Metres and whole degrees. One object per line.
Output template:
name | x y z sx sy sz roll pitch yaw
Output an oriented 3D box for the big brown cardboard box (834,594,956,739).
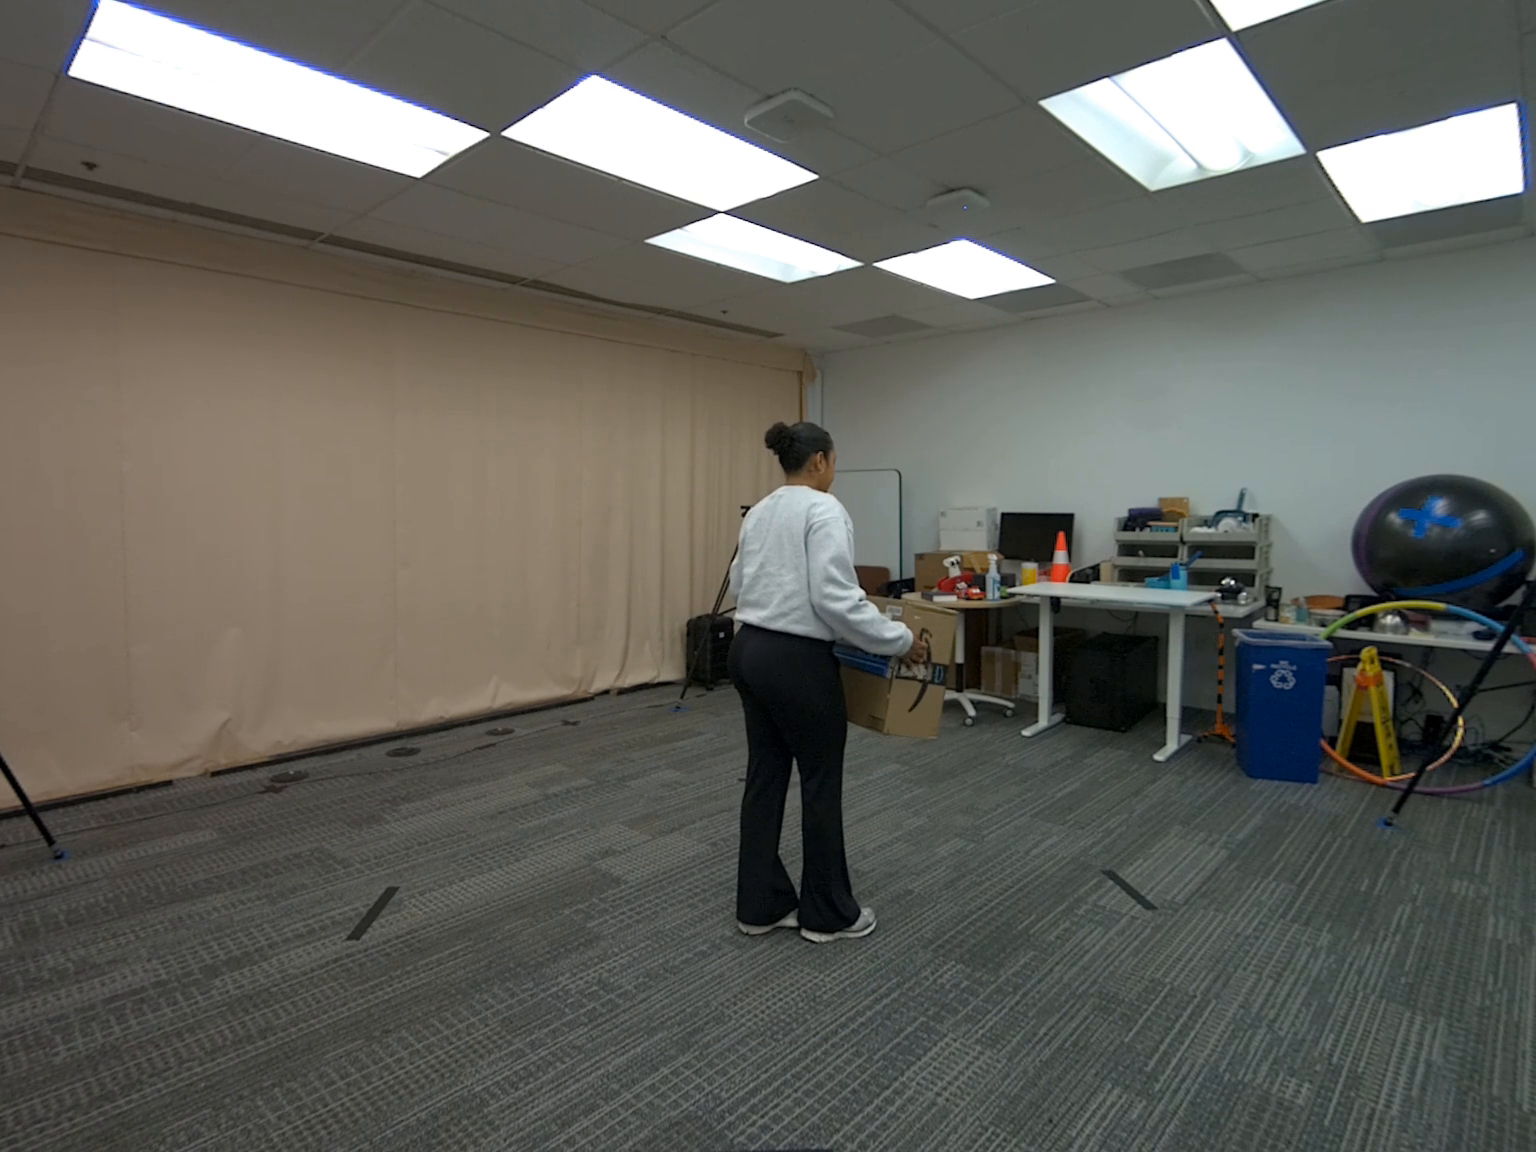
big brown cardboard box | 0.349 0.280 2.880 0.227 0.418 0.604 10 -2 -27
